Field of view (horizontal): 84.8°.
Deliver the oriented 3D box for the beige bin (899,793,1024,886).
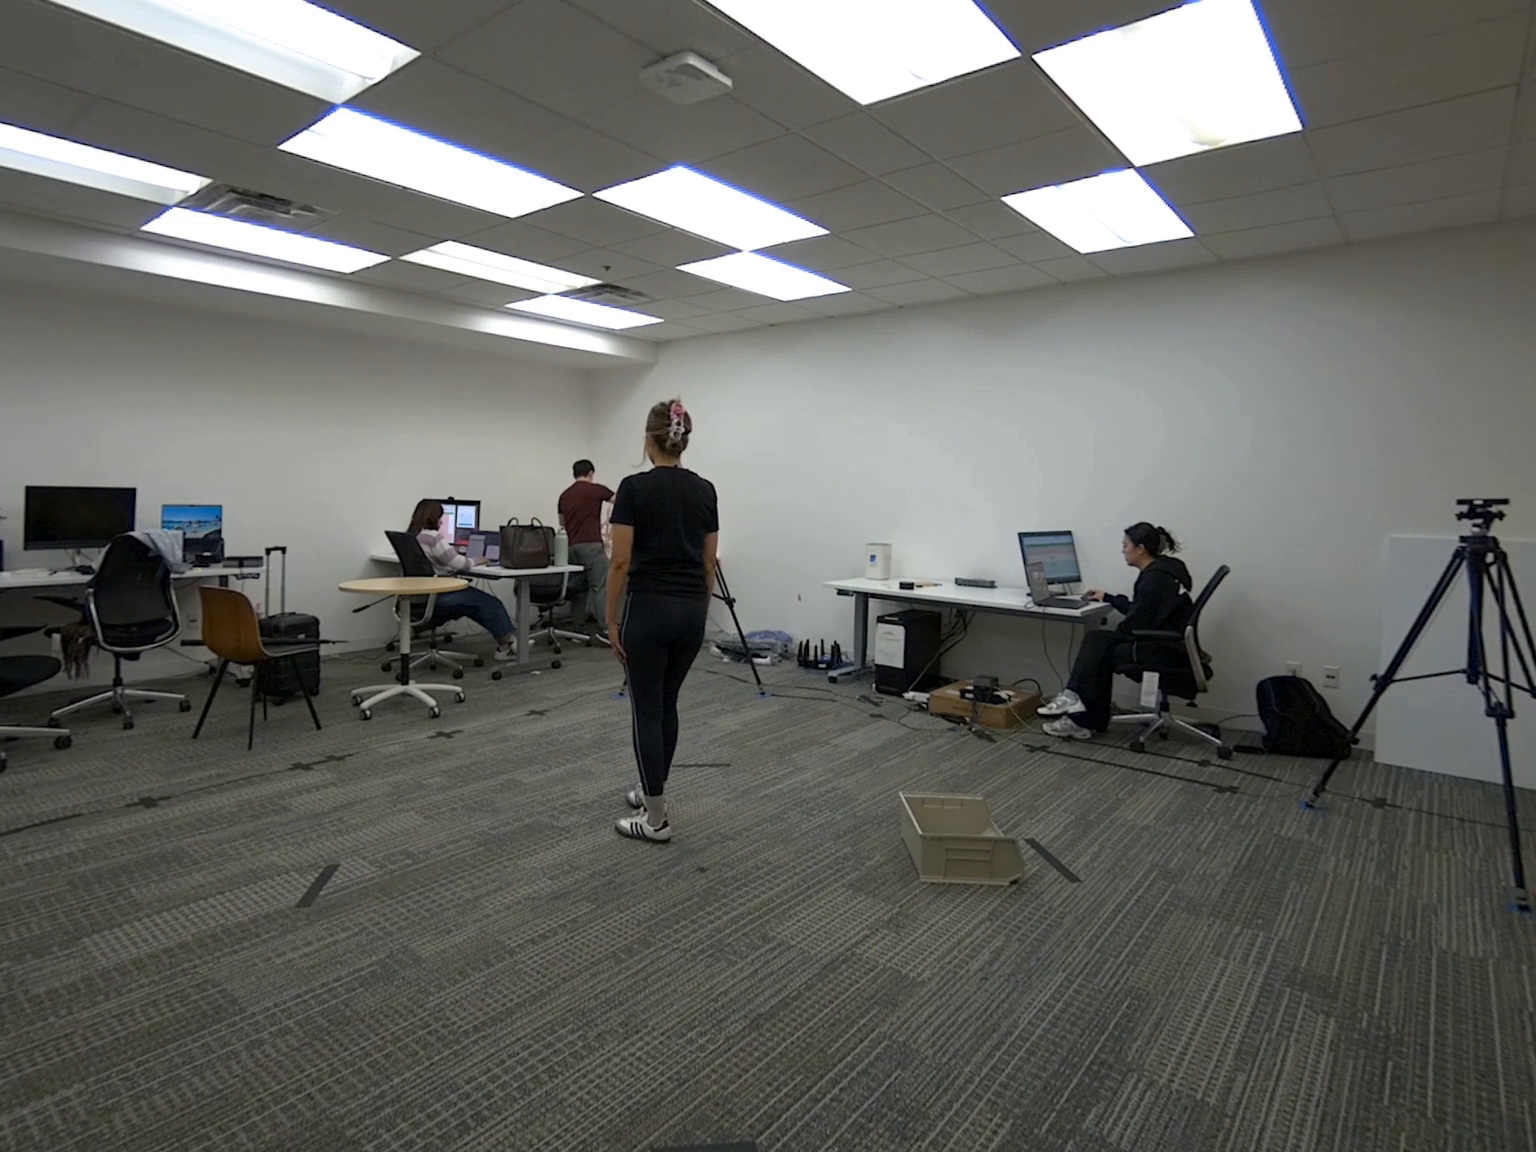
[{"bbox_3d":[0.723,0.990,3.246,0.378,0.188,0.424,0,6,0],"label":"beige bin"}]
